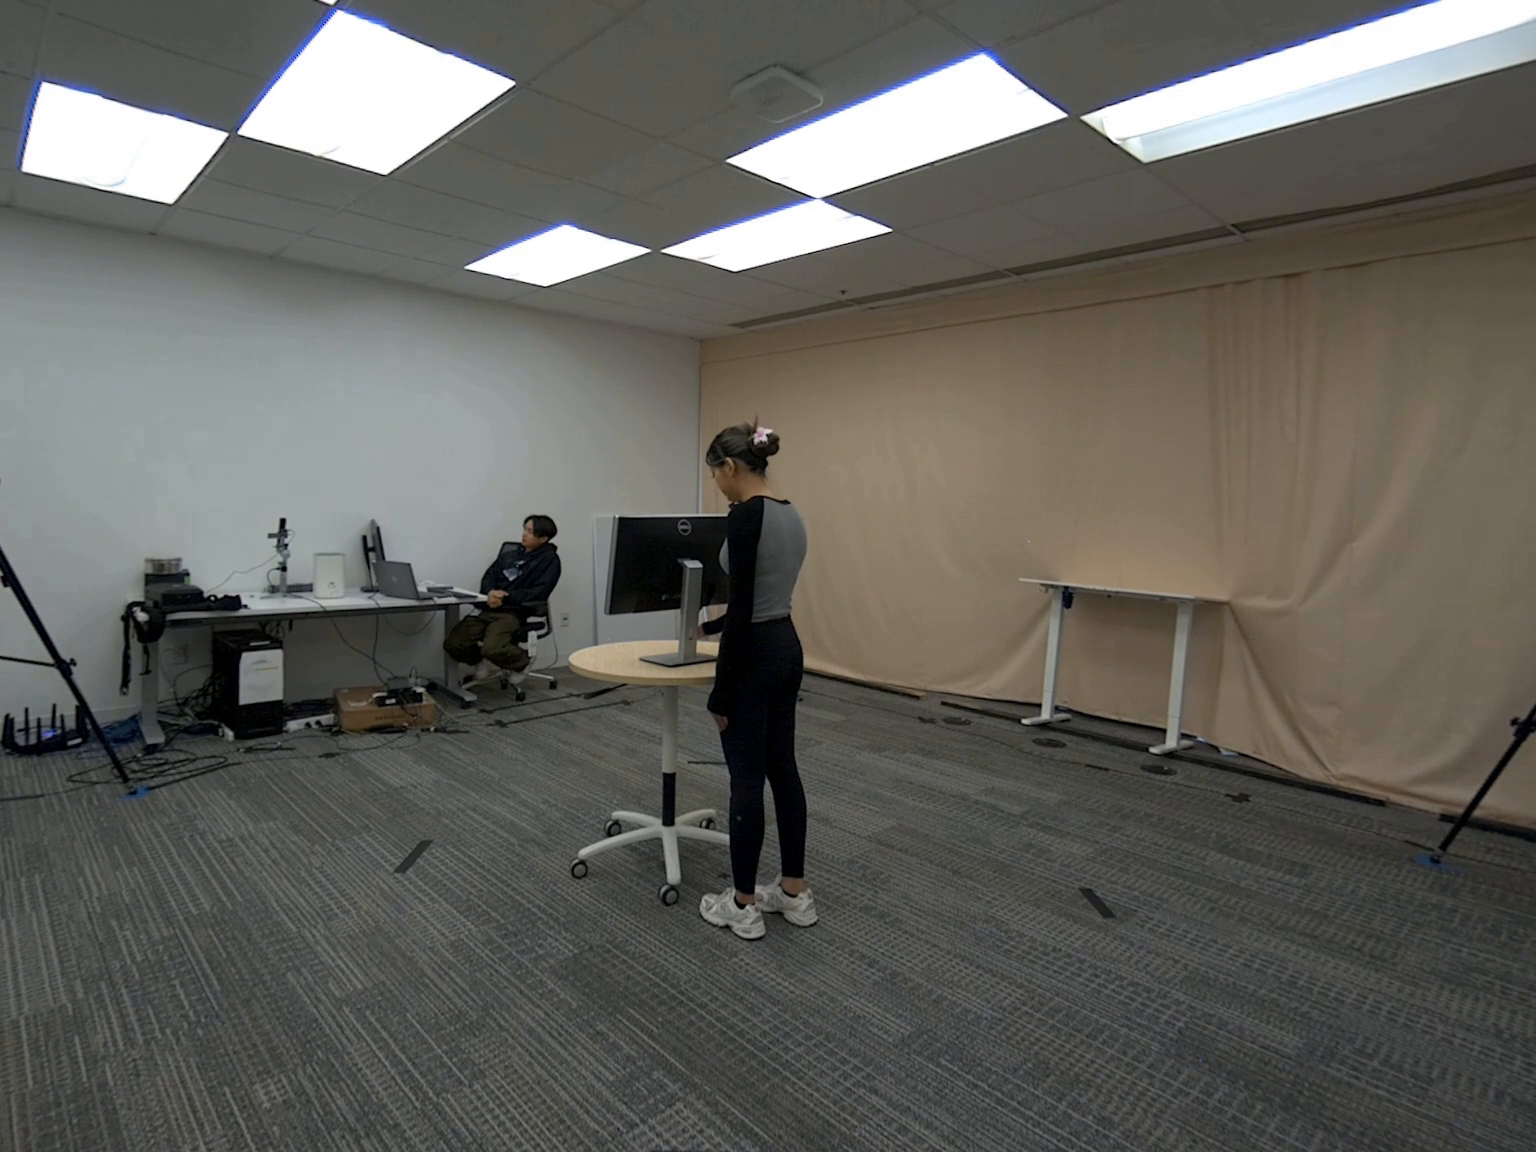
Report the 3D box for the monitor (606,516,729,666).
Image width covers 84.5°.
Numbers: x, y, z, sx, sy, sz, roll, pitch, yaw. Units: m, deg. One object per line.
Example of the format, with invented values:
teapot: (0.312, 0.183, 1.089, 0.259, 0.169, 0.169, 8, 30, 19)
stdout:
monitor: (-0.328, 0.047, 3.110, 0.527, 0.522, 0.192, -3, 3, -44)
